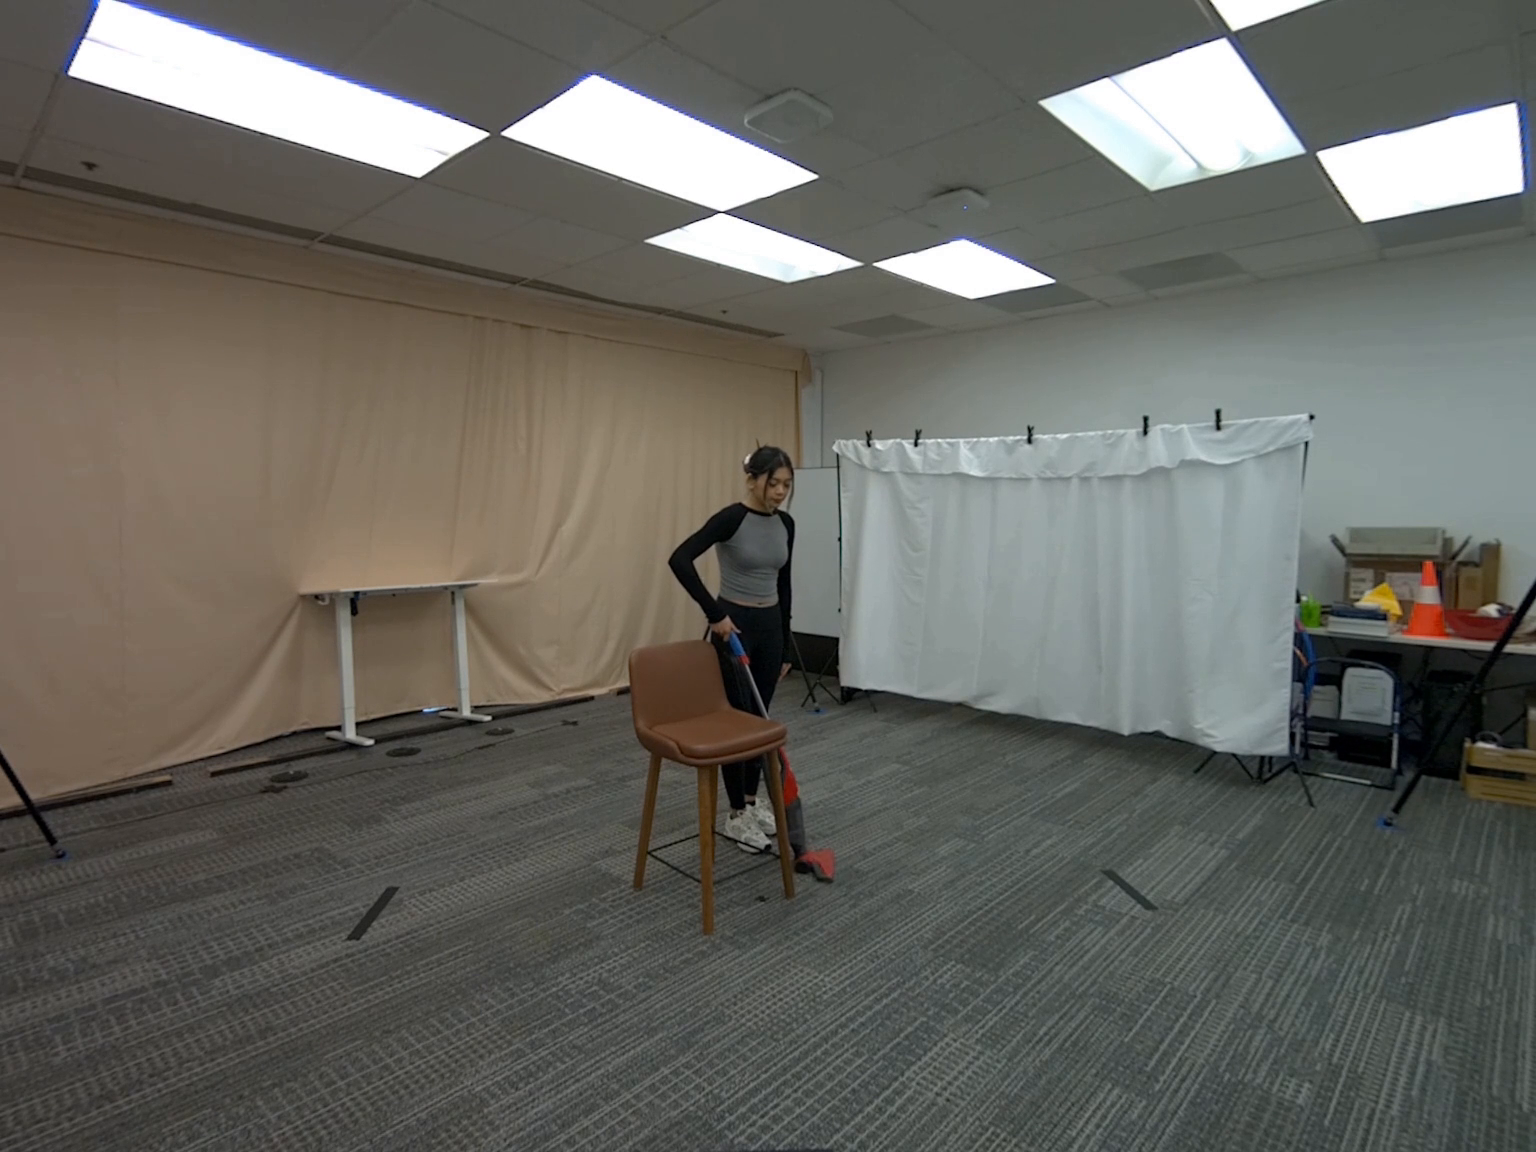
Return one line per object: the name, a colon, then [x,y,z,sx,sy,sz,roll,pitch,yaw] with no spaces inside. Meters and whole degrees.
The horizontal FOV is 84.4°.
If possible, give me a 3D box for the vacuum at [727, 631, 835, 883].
vacuum: [-0.003,0.640,3.237,0.145,1.050,0.250,-23,-1,8]
